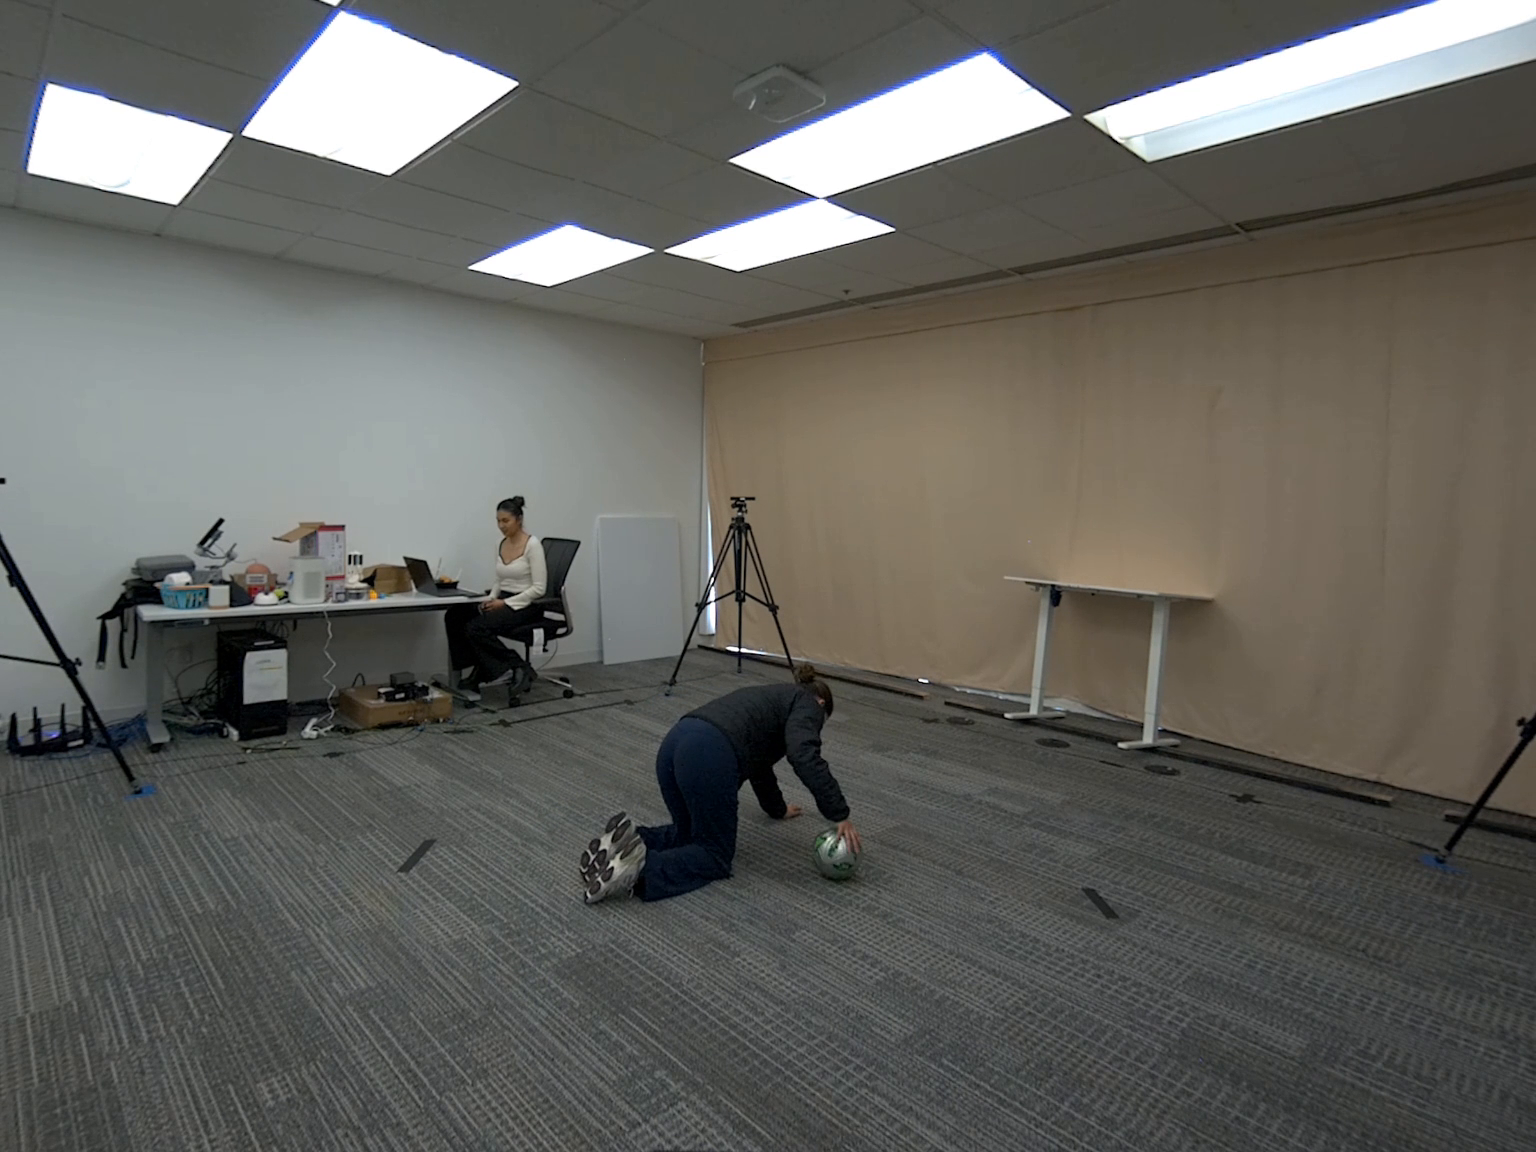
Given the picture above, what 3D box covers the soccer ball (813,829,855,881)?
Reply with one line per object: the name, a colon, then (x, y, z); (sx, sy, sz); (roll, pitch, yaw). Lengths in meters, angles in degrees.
soccer ball: (0.235, 1.018, 3.121); (0.187, 0.187, 0.188); (1, 4, -1)
